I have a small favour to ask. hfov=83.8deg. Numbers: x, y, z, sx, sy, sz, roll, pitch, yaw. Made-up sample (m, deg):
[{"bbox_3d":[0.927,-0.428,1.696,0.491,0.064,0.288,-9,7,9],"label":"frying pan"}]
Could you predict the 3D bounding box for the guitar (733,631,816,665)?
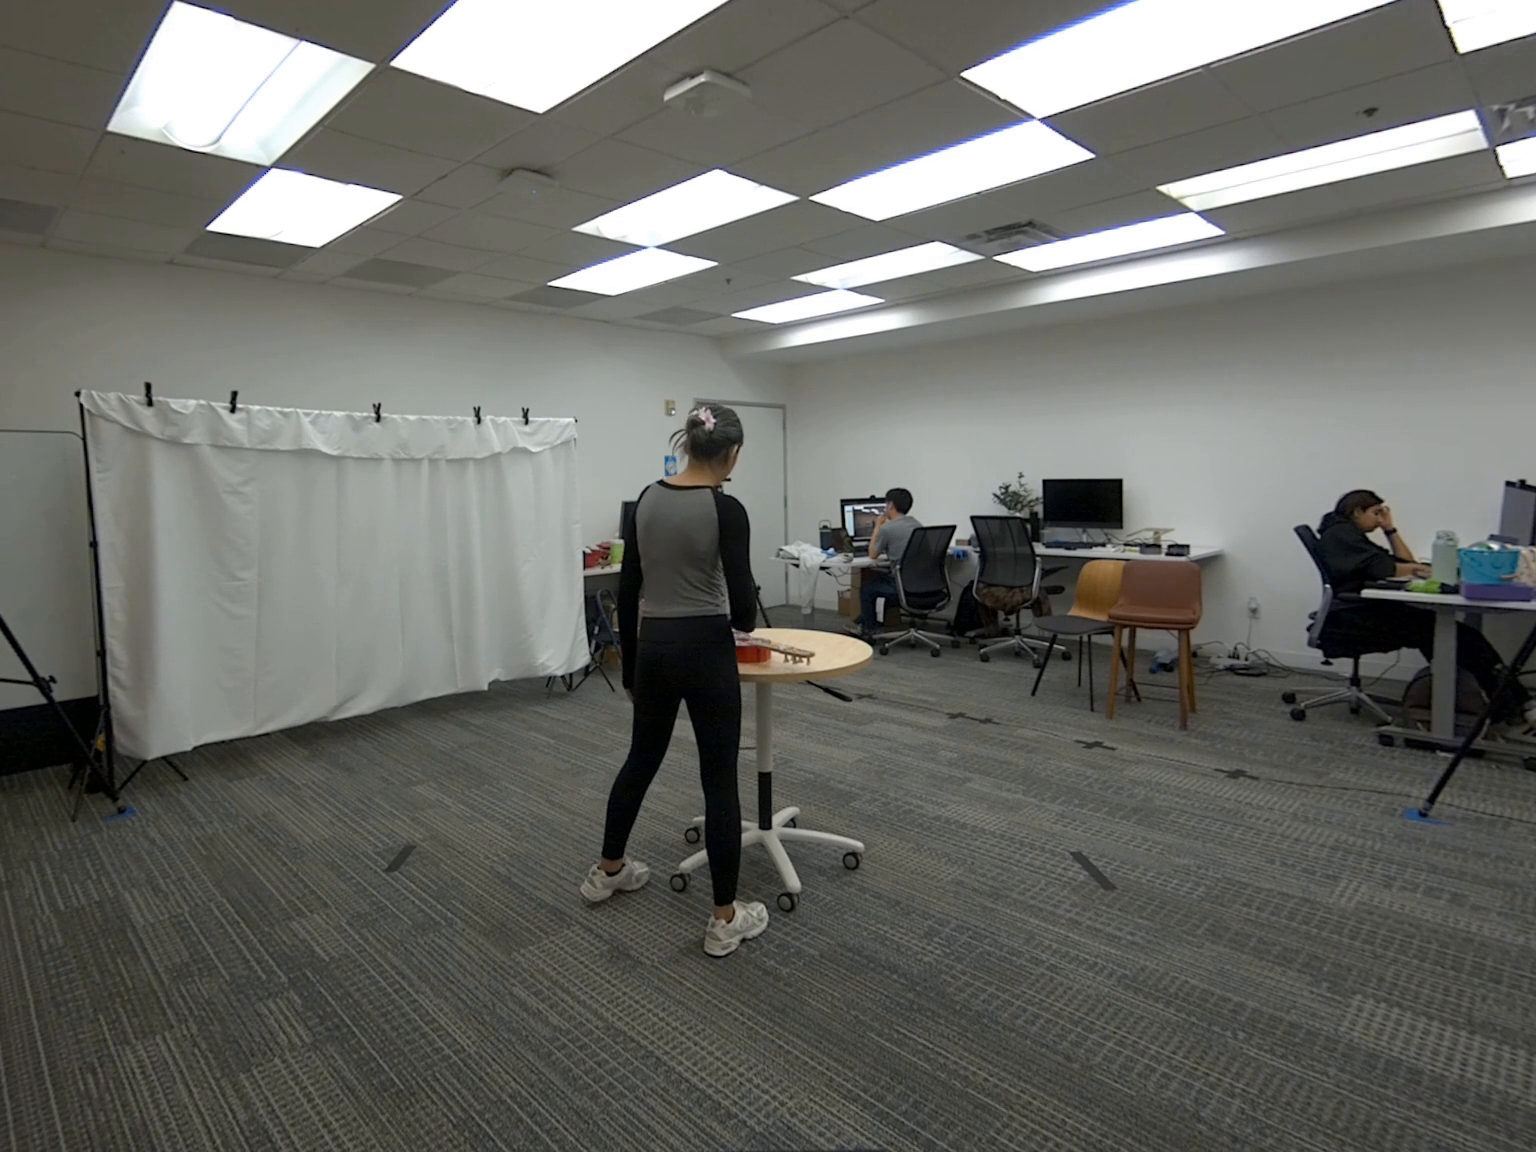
[{"bbox_3d":[-0.053,0.252,2.813,0.188,0.070,0.512,-5,8,-32],"label":"guitar"}]
